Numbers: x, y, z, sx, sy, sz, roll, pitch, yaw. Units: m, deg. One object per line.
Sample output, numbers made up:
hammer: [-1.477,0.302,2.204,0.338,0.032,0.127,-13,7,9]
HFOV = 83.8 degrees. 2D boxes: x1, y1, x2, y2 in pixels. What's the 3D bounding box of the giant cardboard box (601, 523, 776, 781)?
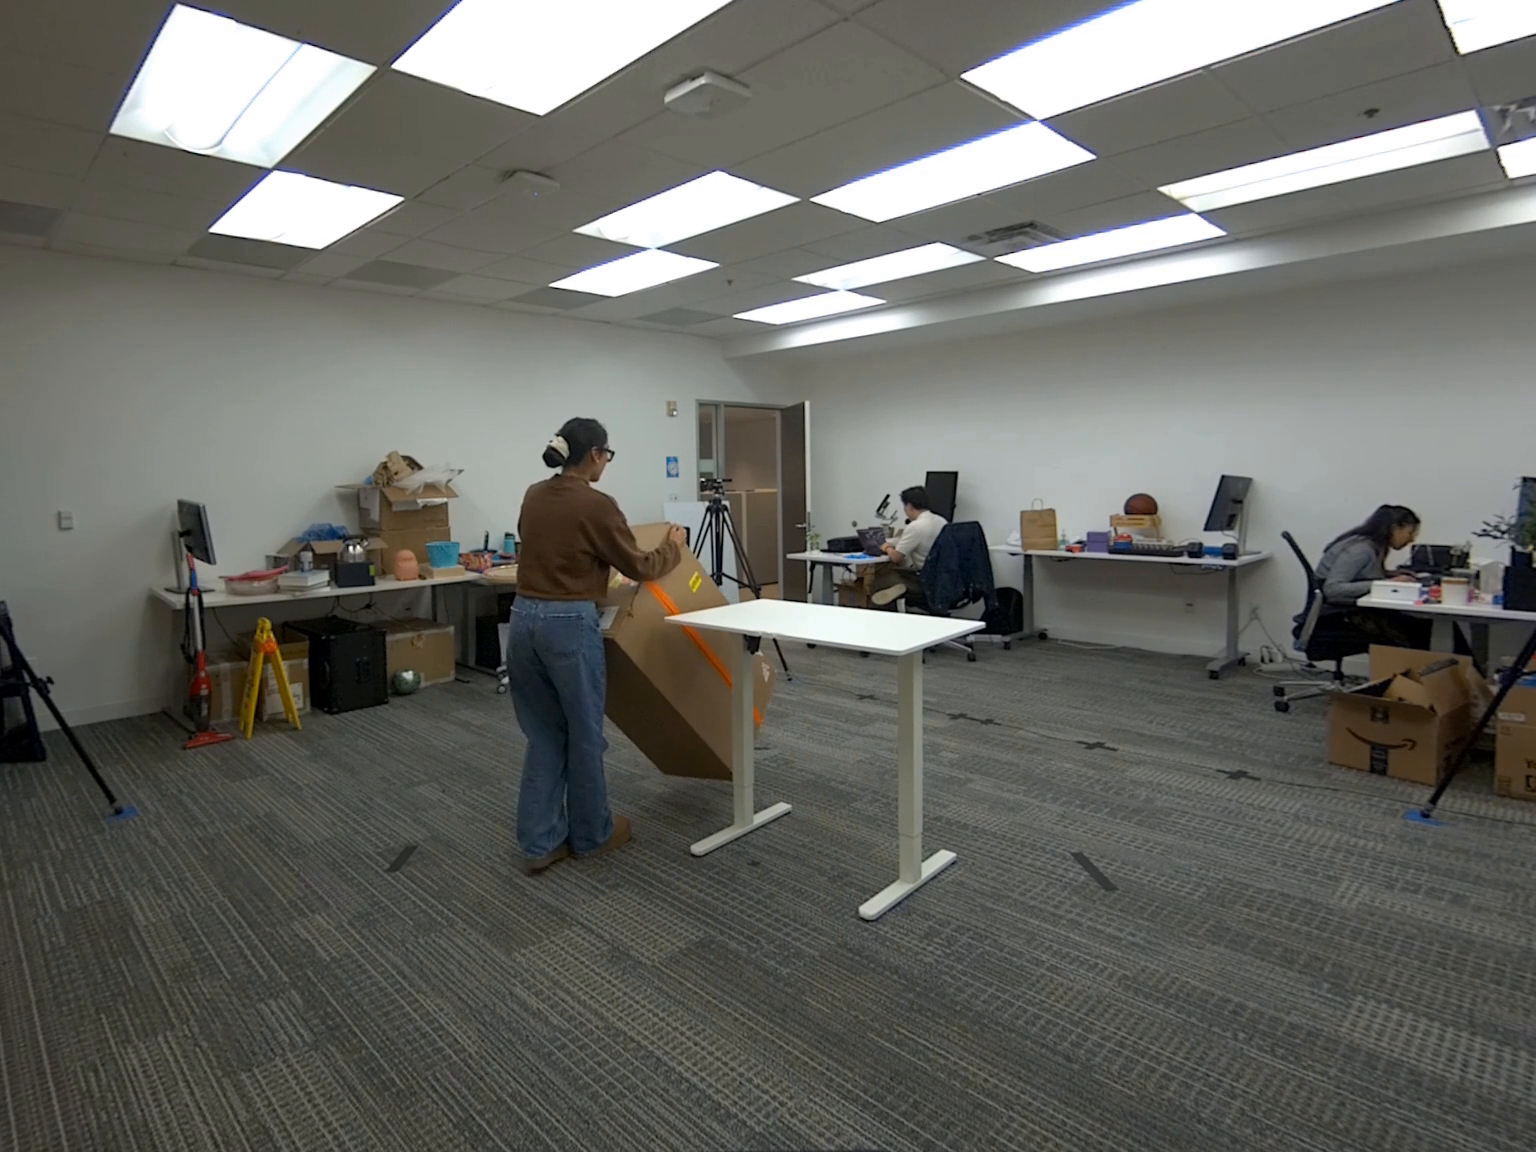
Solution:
giant cardboard box: [-0.428,0.352,3.634,0.436,0.585,0.988,-5,-44,32]
